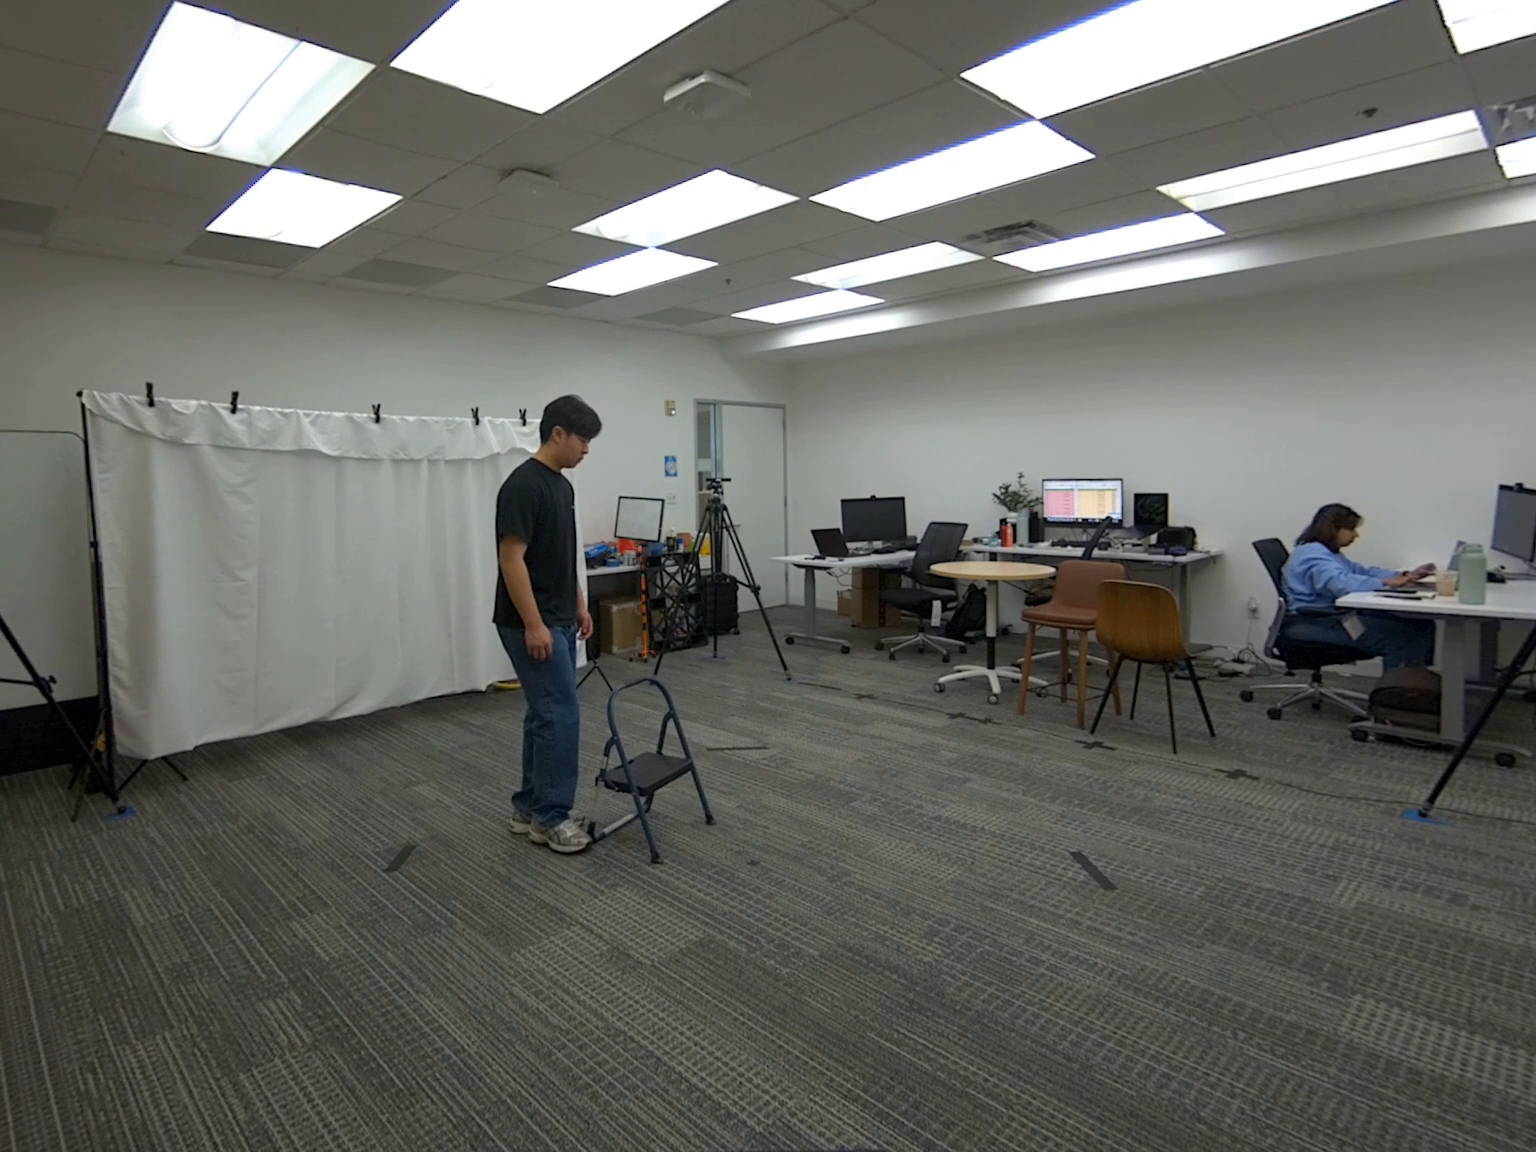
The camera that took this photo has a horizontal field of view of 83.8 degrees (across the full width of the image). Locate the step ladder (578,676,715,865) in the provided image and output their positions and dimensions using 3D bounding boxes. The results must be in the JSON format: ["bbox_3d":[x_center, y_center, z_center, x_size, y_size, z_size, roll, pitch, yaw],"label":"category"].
[{"bbox_3d":[-0.461,0.716,3.356,0.358,0.604,0.421,1,4,28],"label":"step ladder"}]
